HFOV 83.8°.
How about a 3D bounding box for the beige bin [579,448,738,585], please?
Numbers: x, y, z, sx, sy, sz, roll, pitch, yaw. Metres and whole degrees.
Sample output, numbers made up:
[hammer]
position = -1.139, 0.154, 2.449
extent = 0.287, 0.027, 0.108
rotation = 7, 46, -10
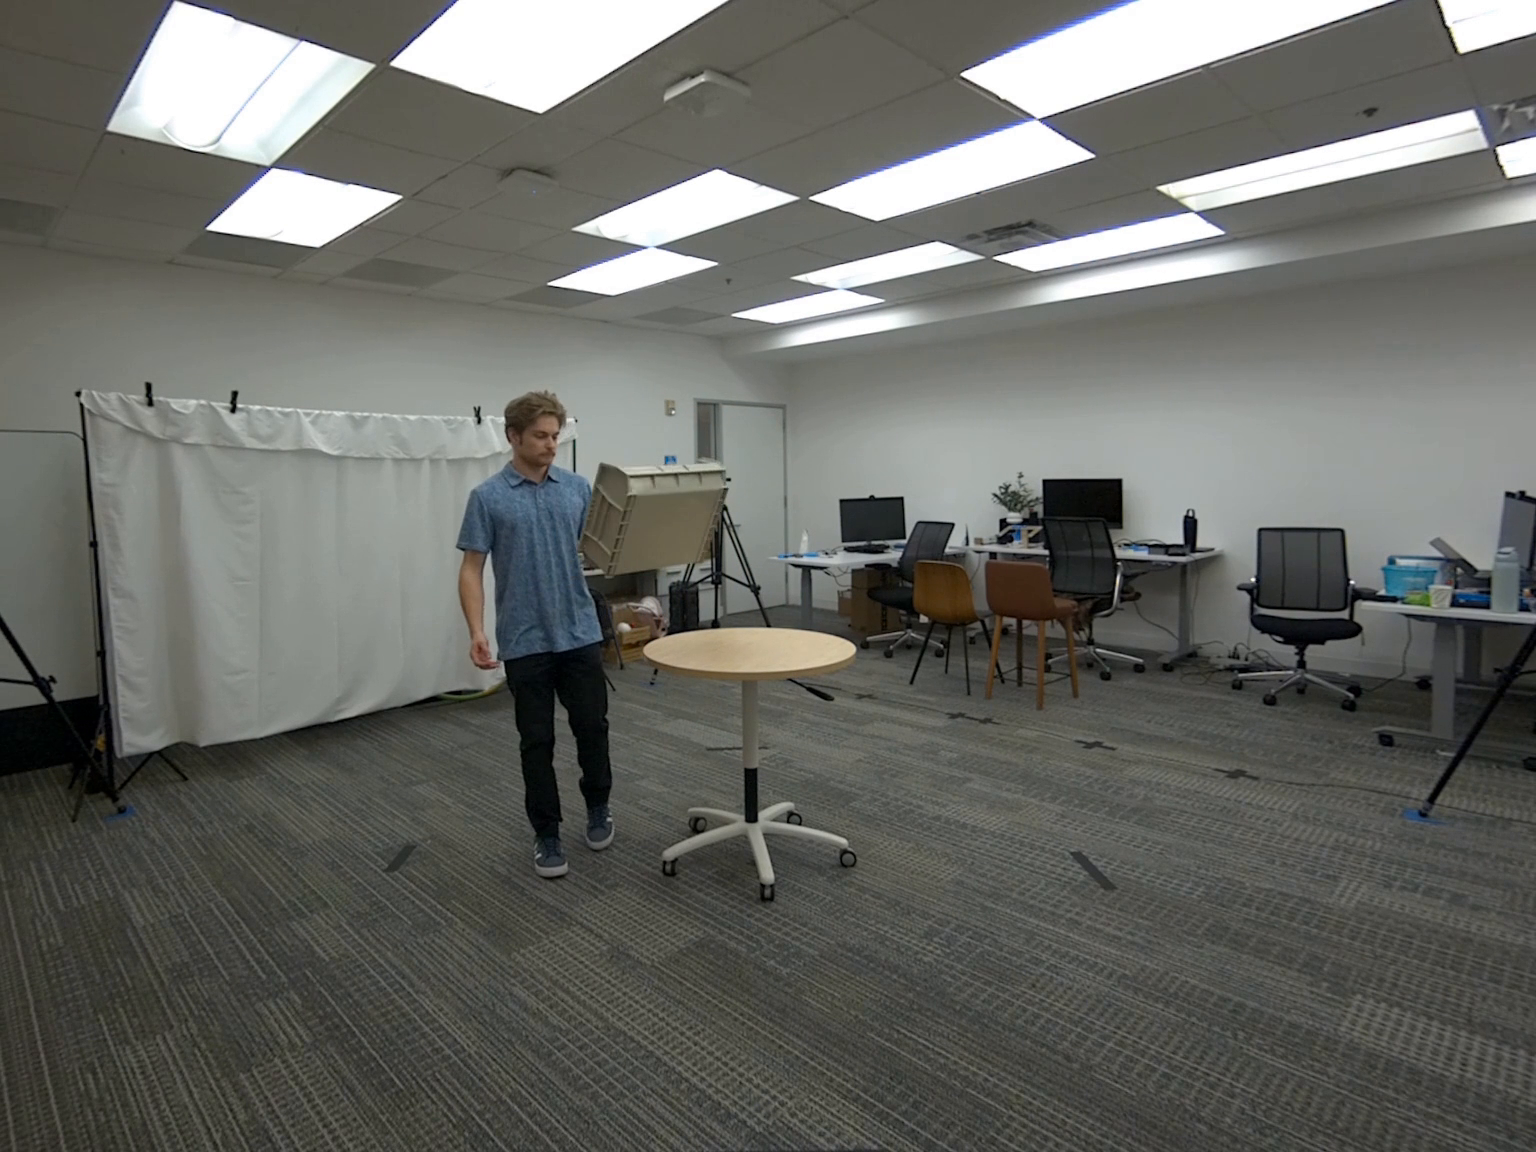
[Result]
[beige bin]
position = -0.370, -0.211, 2.864
extent = 0.412, 0.372, 0.196
rotation = -9, 38, -42
